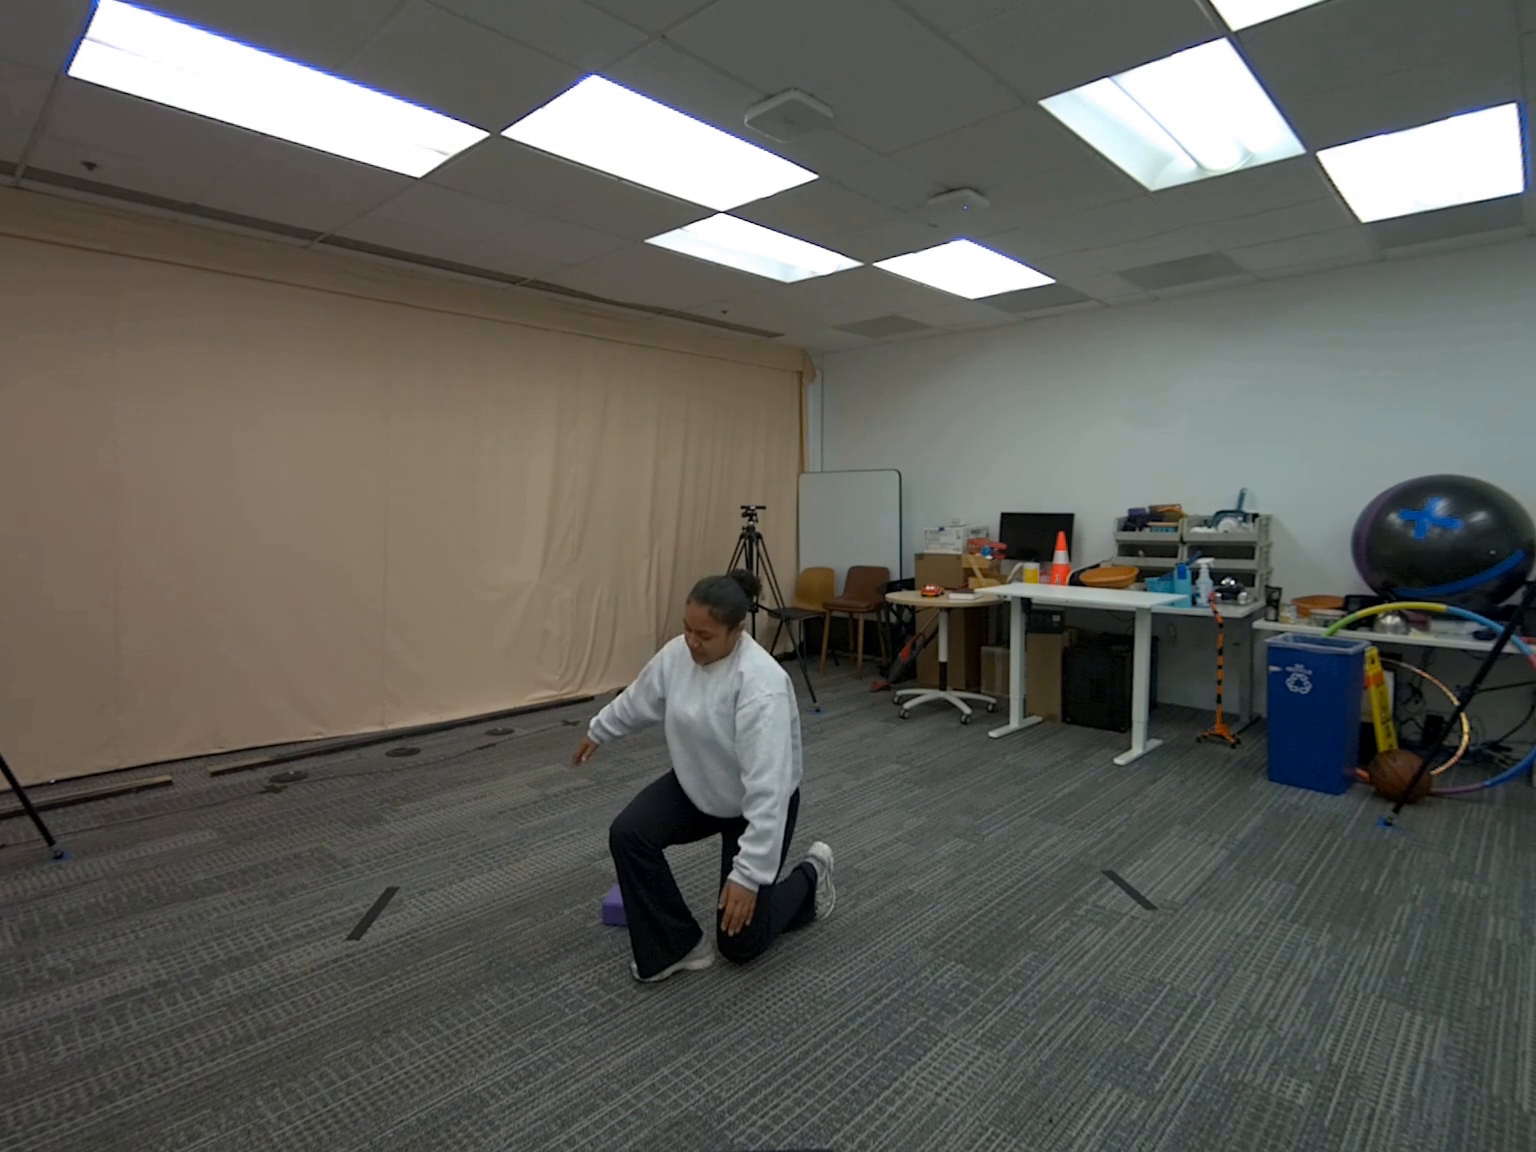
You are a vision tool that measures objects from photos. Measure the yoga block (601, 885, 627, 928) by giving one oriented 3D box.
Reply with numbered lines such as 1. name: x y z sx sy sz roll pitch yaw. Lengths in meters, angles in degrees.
1. yoga block: -0.431 1.116 2.848 0.231 0.076 0.148 0 3 8
